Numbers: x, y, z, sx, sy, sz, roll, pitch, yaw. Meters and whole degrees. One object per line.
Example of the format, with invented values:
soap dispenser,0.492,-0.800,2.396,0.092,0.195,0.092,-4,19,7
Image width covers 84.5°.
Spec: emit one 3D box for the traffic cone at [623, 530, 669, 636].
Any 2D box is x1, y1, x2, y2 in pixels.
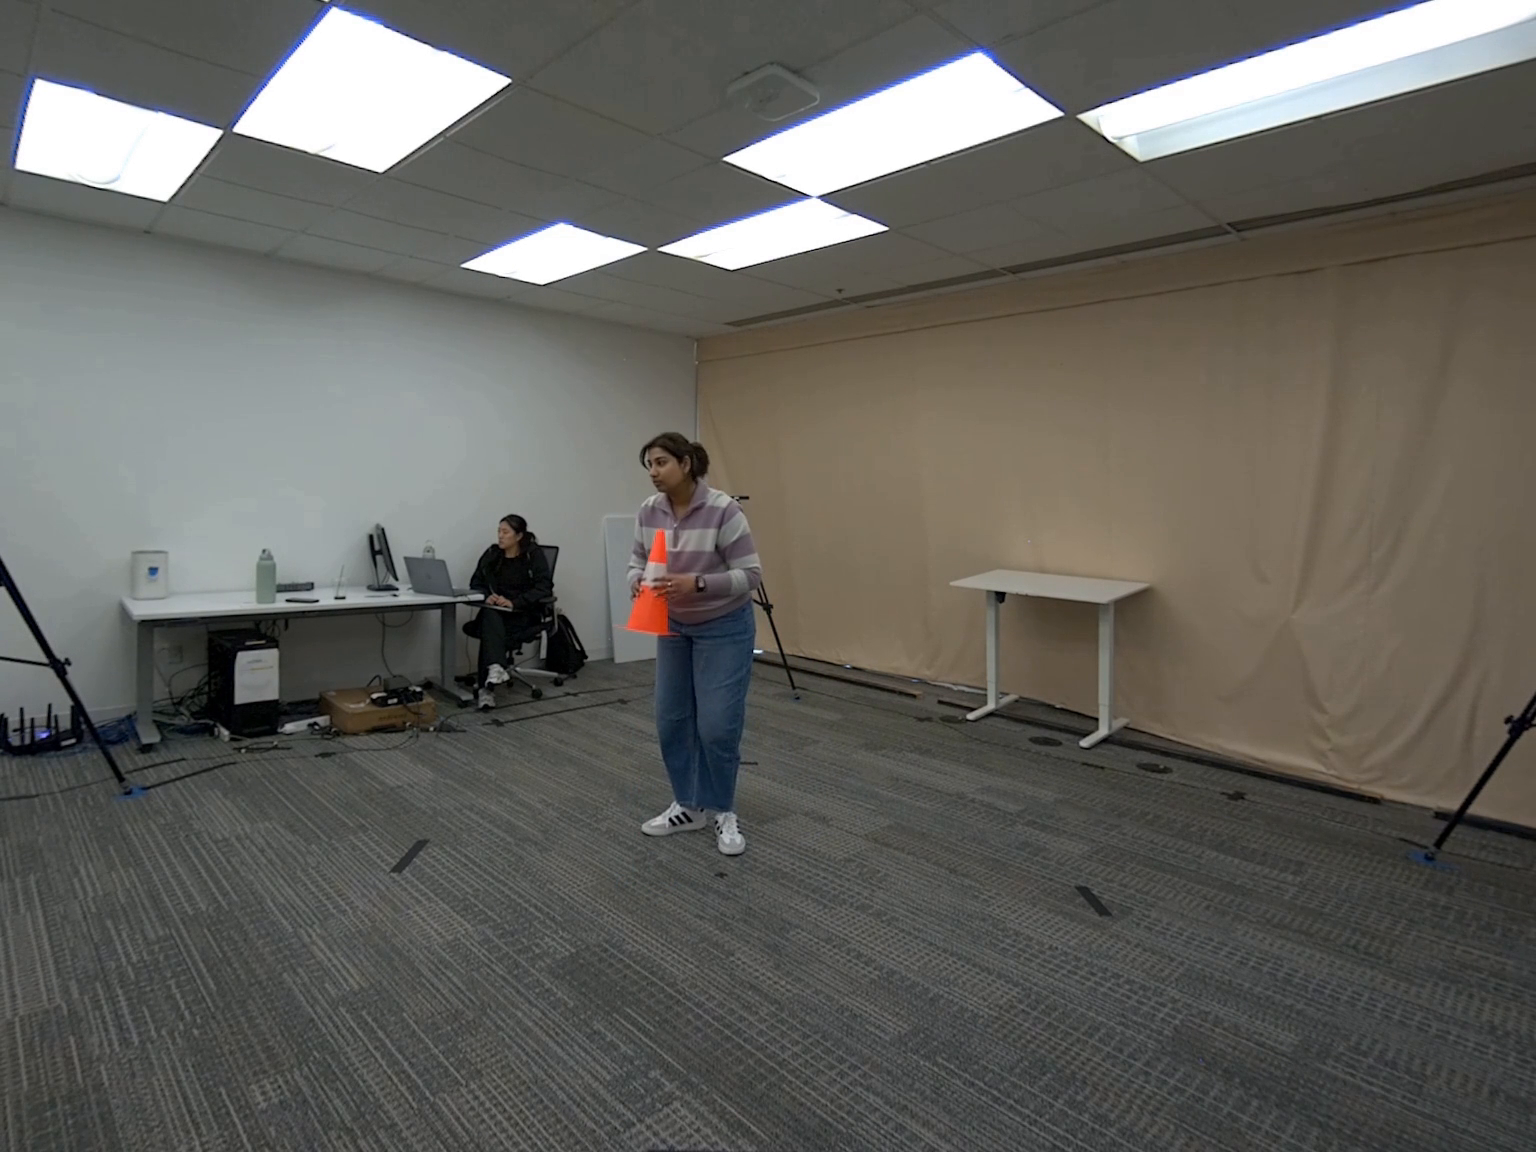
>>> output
traffic cone,-0.447,0.026,3.169,0.203,0.384,0.205,7,0,-1
